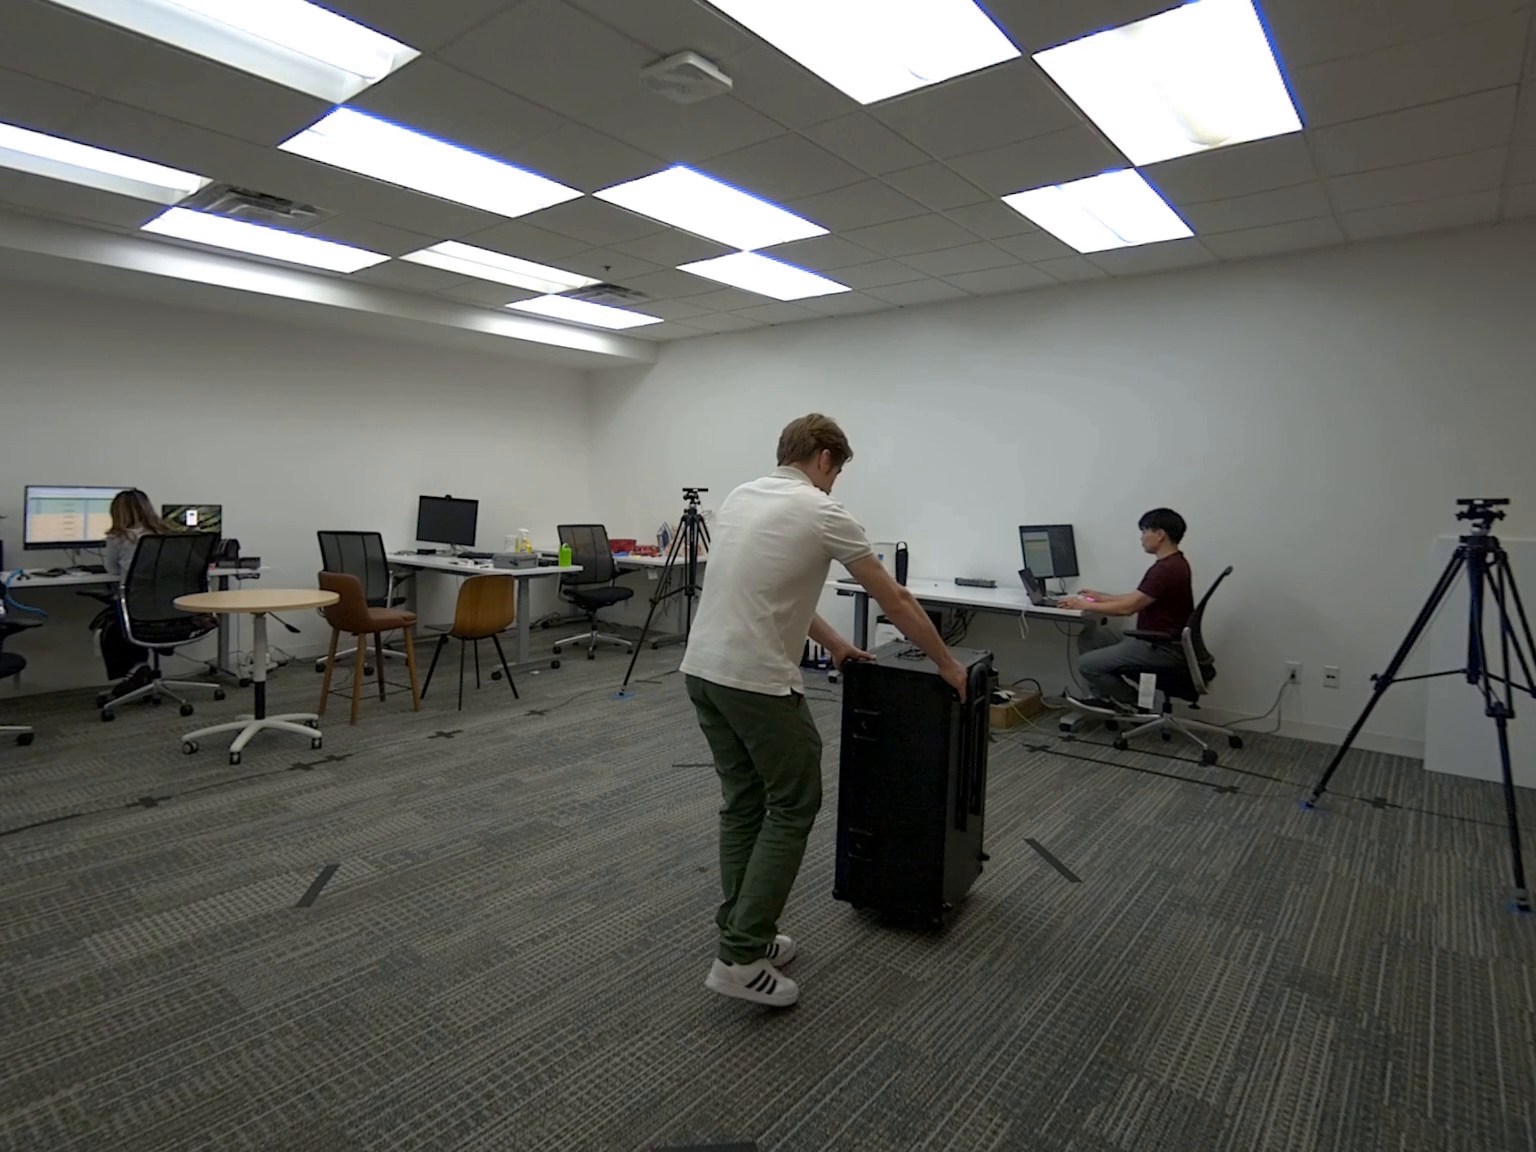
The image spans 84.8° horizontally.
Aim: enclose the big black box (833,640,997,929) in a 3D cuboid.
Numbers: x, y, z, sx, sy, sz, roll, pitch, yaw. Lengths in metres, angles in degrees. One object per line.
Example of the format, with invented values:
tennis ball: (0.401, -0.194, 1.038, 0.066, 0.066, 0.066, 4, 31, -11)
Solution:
big black box: (0.495, 0.685, 2.857, 0.396, 0.865, 0.510, 4, 5, 29)
